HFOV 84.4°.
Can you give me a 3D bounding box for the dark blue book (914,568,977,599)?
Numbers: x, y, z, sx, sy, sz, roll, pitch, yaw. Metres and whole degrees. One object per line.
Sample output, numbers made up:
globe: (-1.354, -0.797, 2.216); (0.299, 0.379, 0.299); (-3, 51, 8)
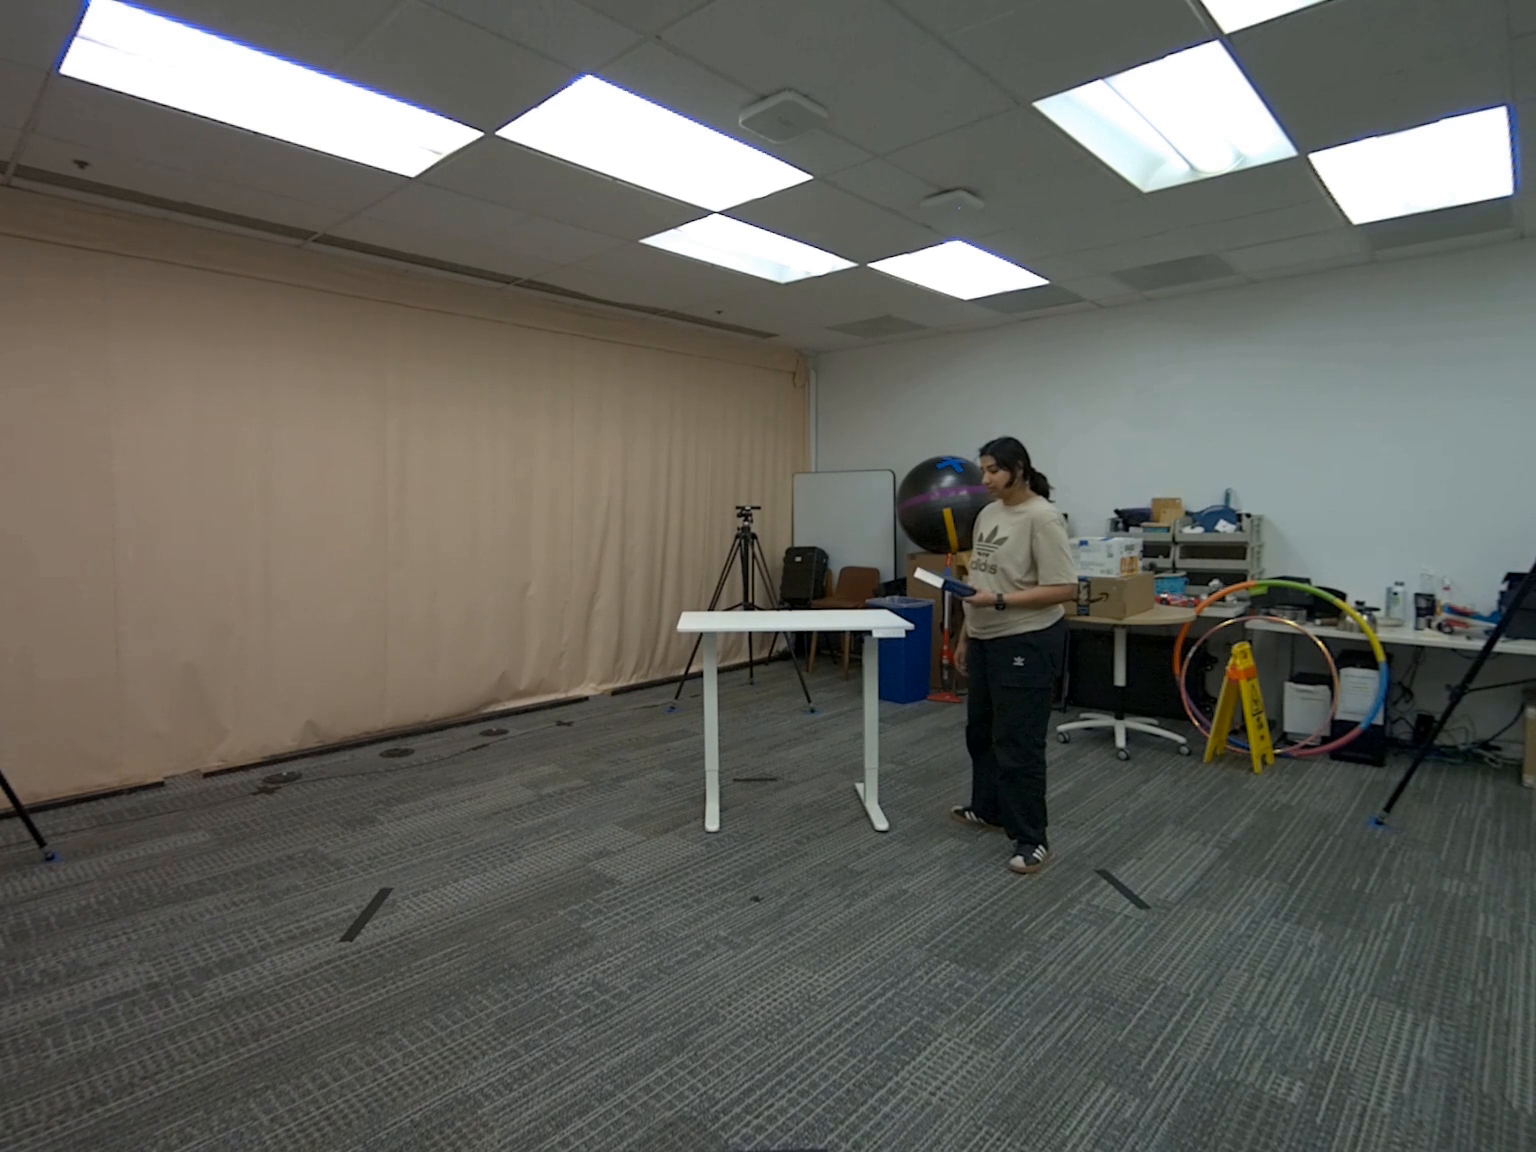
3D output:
dark blue book: (0.725, 0.037, 3.295); (0.237, 0.045, 0.169); (16, 8, -34)
